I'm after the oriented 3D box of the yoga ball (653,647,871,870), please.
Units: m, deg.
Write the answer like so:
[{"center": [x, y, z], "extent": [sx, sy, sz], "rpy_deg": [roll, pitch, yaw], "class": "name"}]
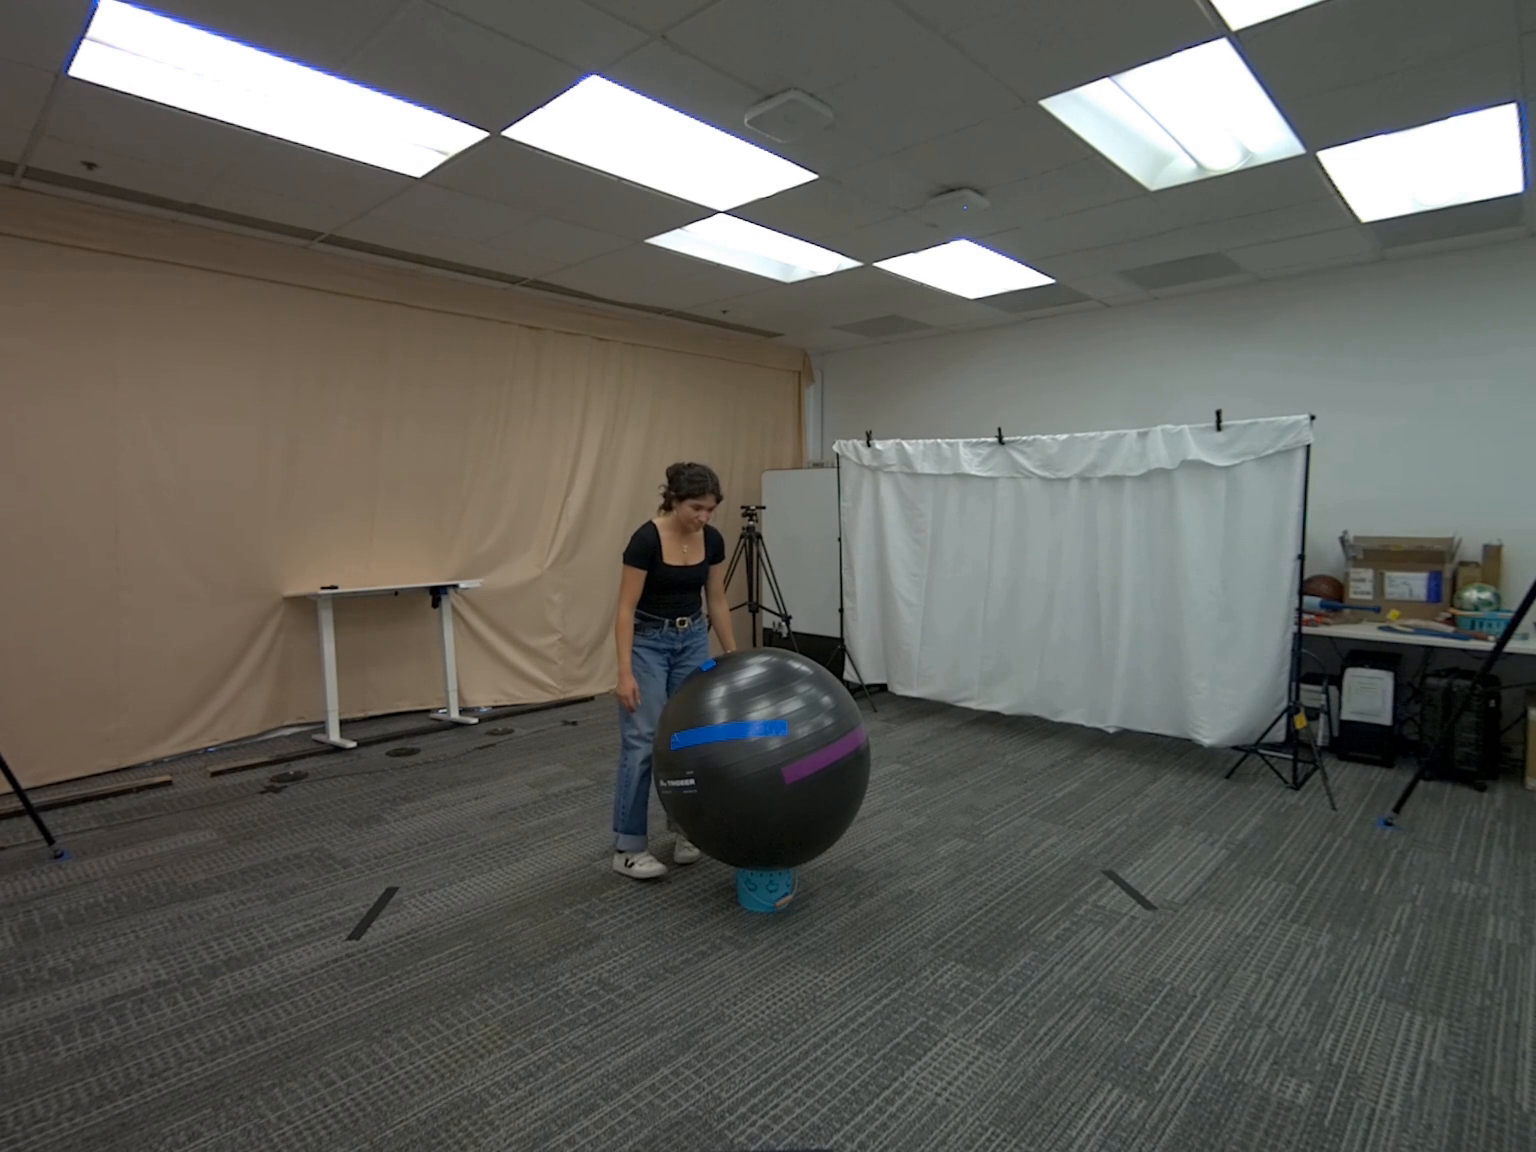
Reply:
[{"center": [-0.034, 0.642, 2.952], "extent": [0.757, 0.756, 0.760], "rpy_deg": [0, 4, -2], "class": "yoga ball"}]
